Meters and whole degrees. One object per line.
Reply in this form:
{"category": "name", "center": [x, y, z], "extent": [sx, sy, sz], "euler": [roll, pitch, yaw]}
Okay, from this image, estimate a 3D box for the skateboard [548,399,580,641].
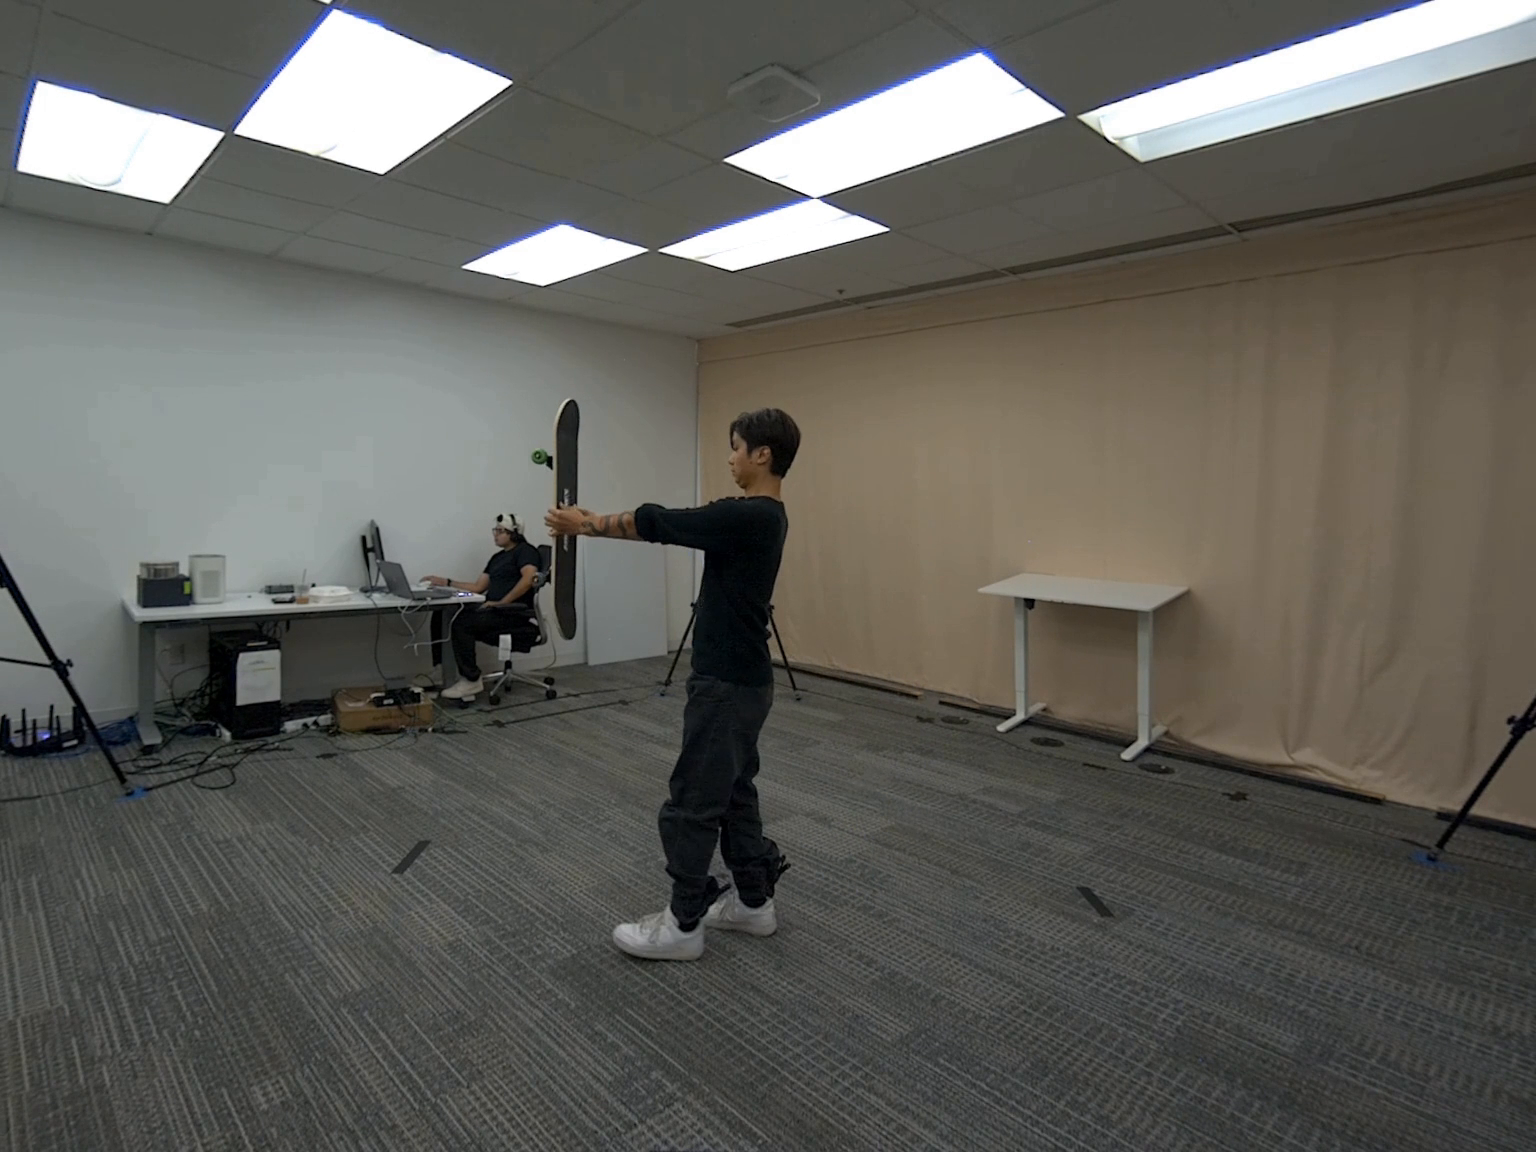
{"category": "skateboard", "center": [-0.701, -0.181, 2.761], "extent": [0.111, 0.786, 0.192], "euler": [1, -1, 8]}
